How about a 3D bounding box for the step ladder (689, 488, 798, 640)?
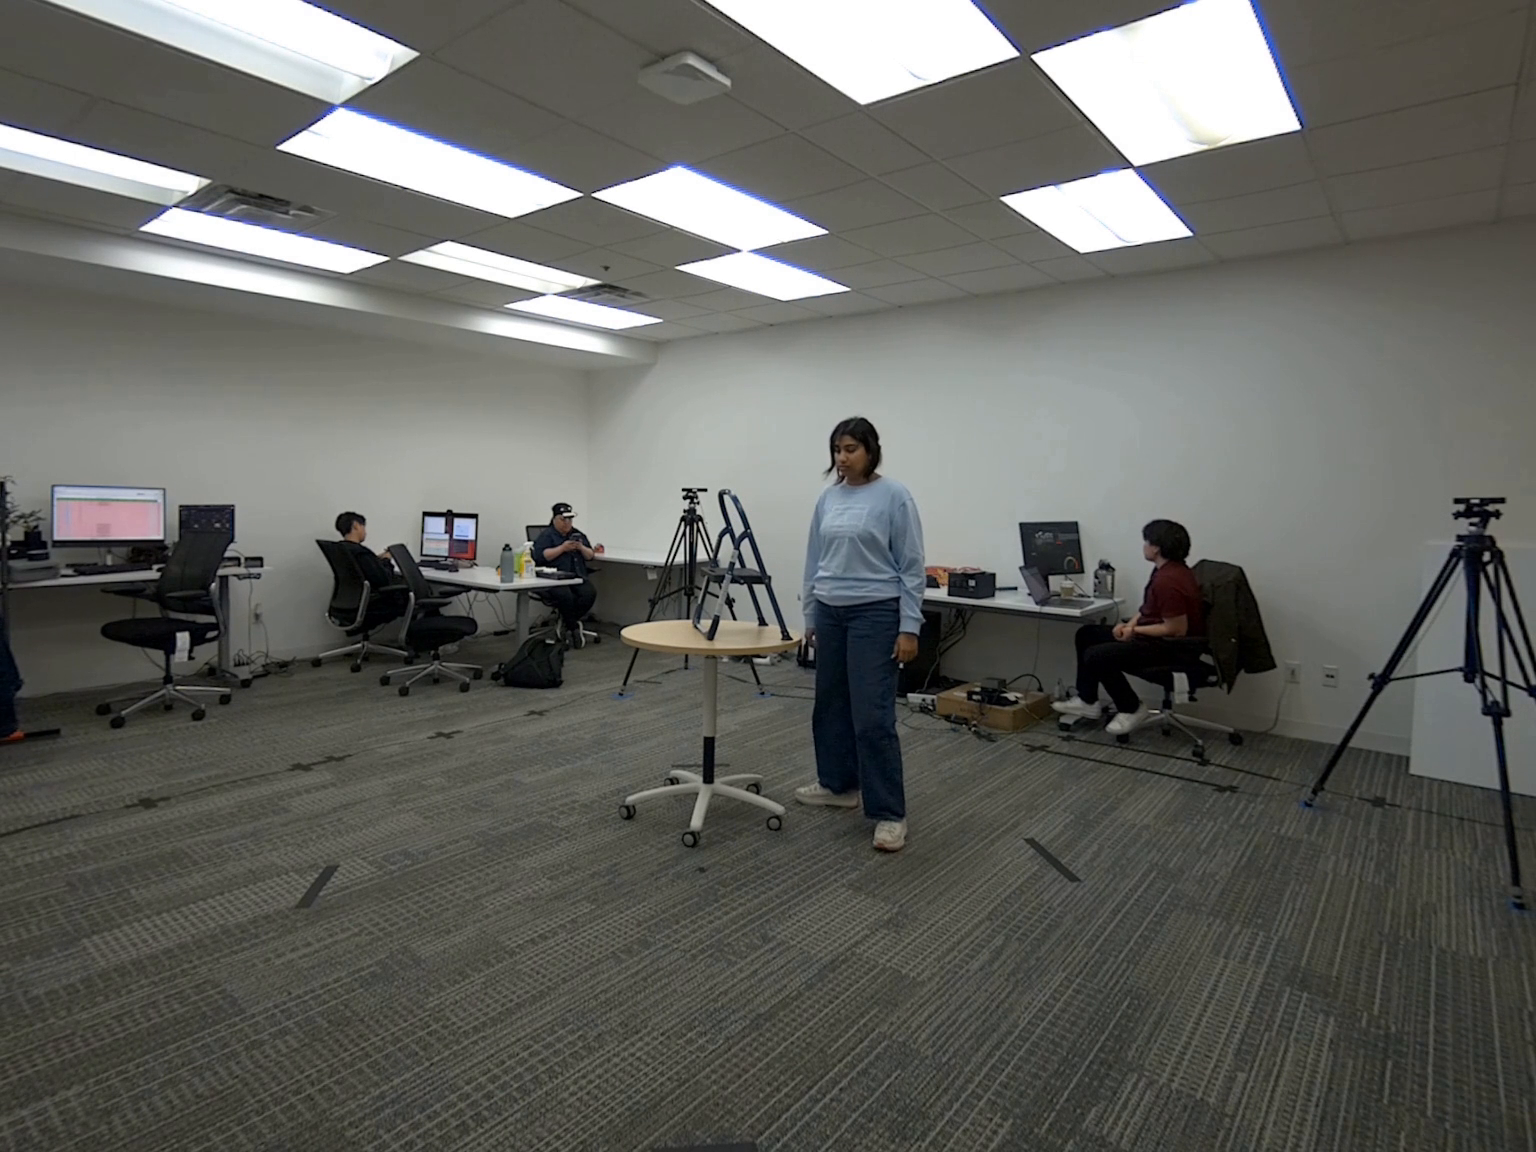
[{"bbox_3d":[-0.119,-0.068,3.618,0.344,0.604,0.438,2,3,-14],"label":"step ladder"}]
